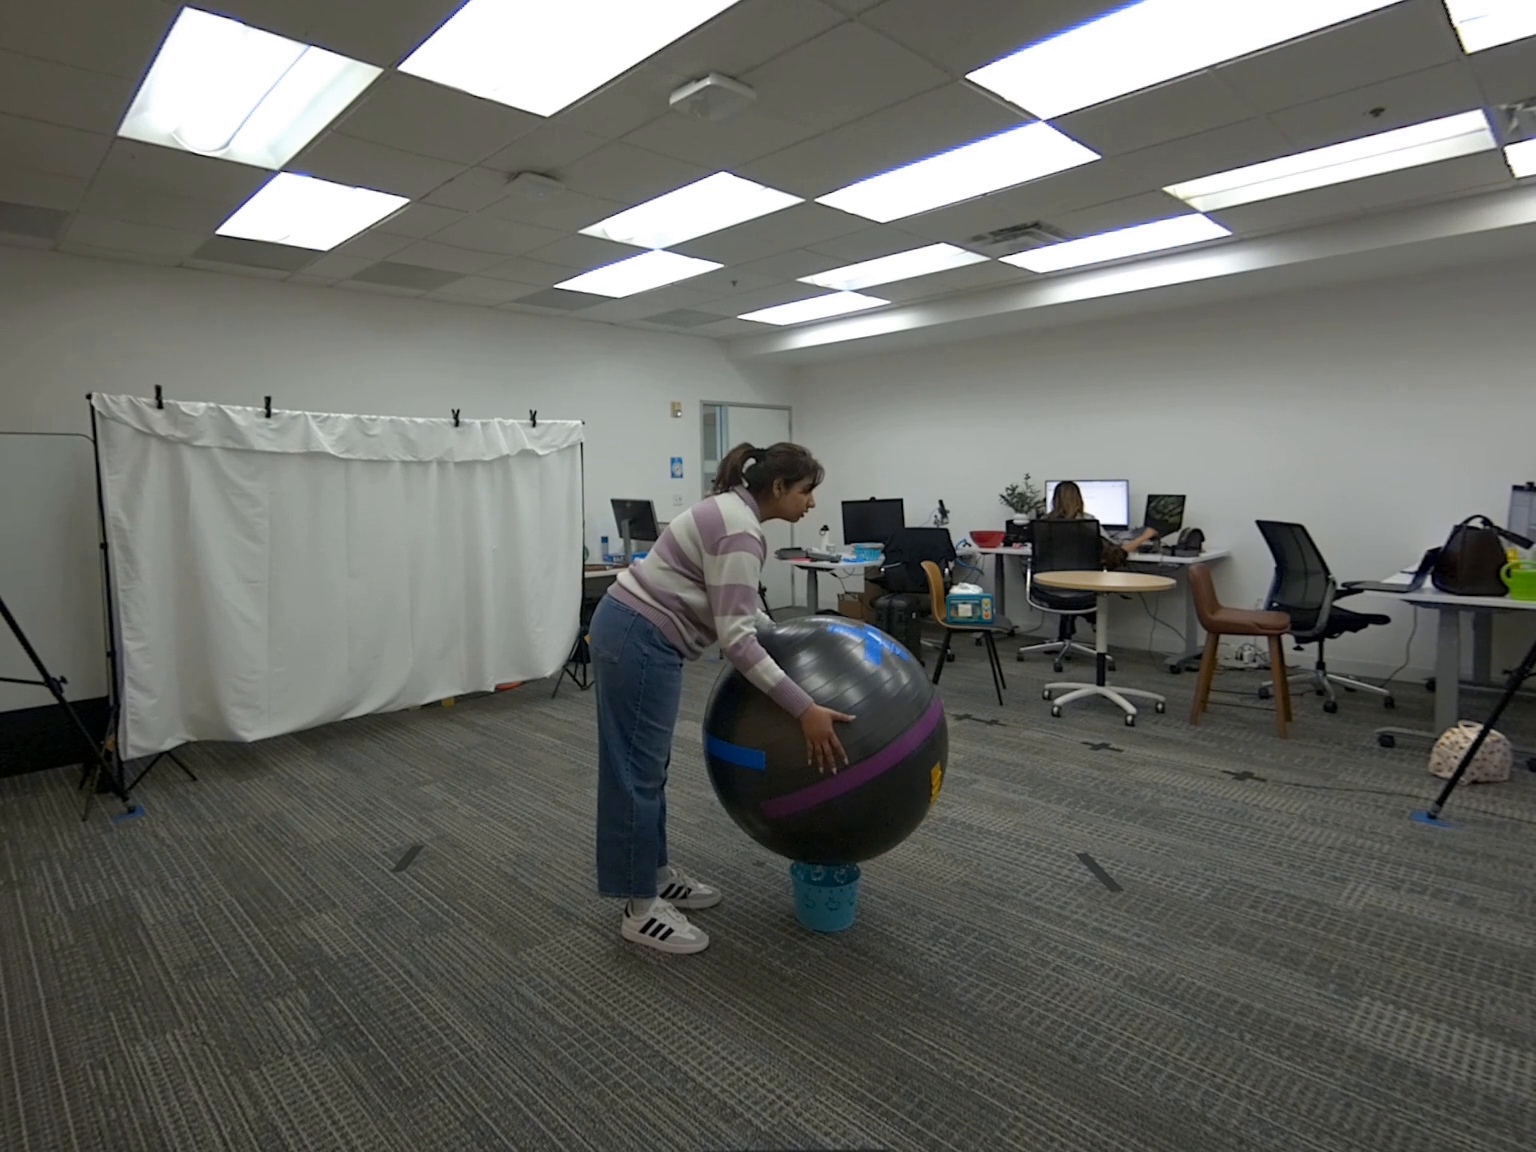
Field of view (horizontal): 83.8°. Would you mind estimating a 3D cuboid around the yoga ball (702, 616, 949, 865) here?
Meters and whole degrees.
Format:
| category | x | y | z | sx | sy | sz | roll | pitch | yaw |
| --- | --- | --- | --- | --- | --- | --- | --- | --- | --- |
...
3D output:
| category | x | y | z | sx | sy | sz | roll | pitch | yaw |
| --- | --- | --- | --- | --- | --- | --- | --- | --- | --- |
| yoga ball | 0.174 | 0.513 | 2.667 | 0.757 | 0.755 | 0.762 | -1 | 5 | -2 |
